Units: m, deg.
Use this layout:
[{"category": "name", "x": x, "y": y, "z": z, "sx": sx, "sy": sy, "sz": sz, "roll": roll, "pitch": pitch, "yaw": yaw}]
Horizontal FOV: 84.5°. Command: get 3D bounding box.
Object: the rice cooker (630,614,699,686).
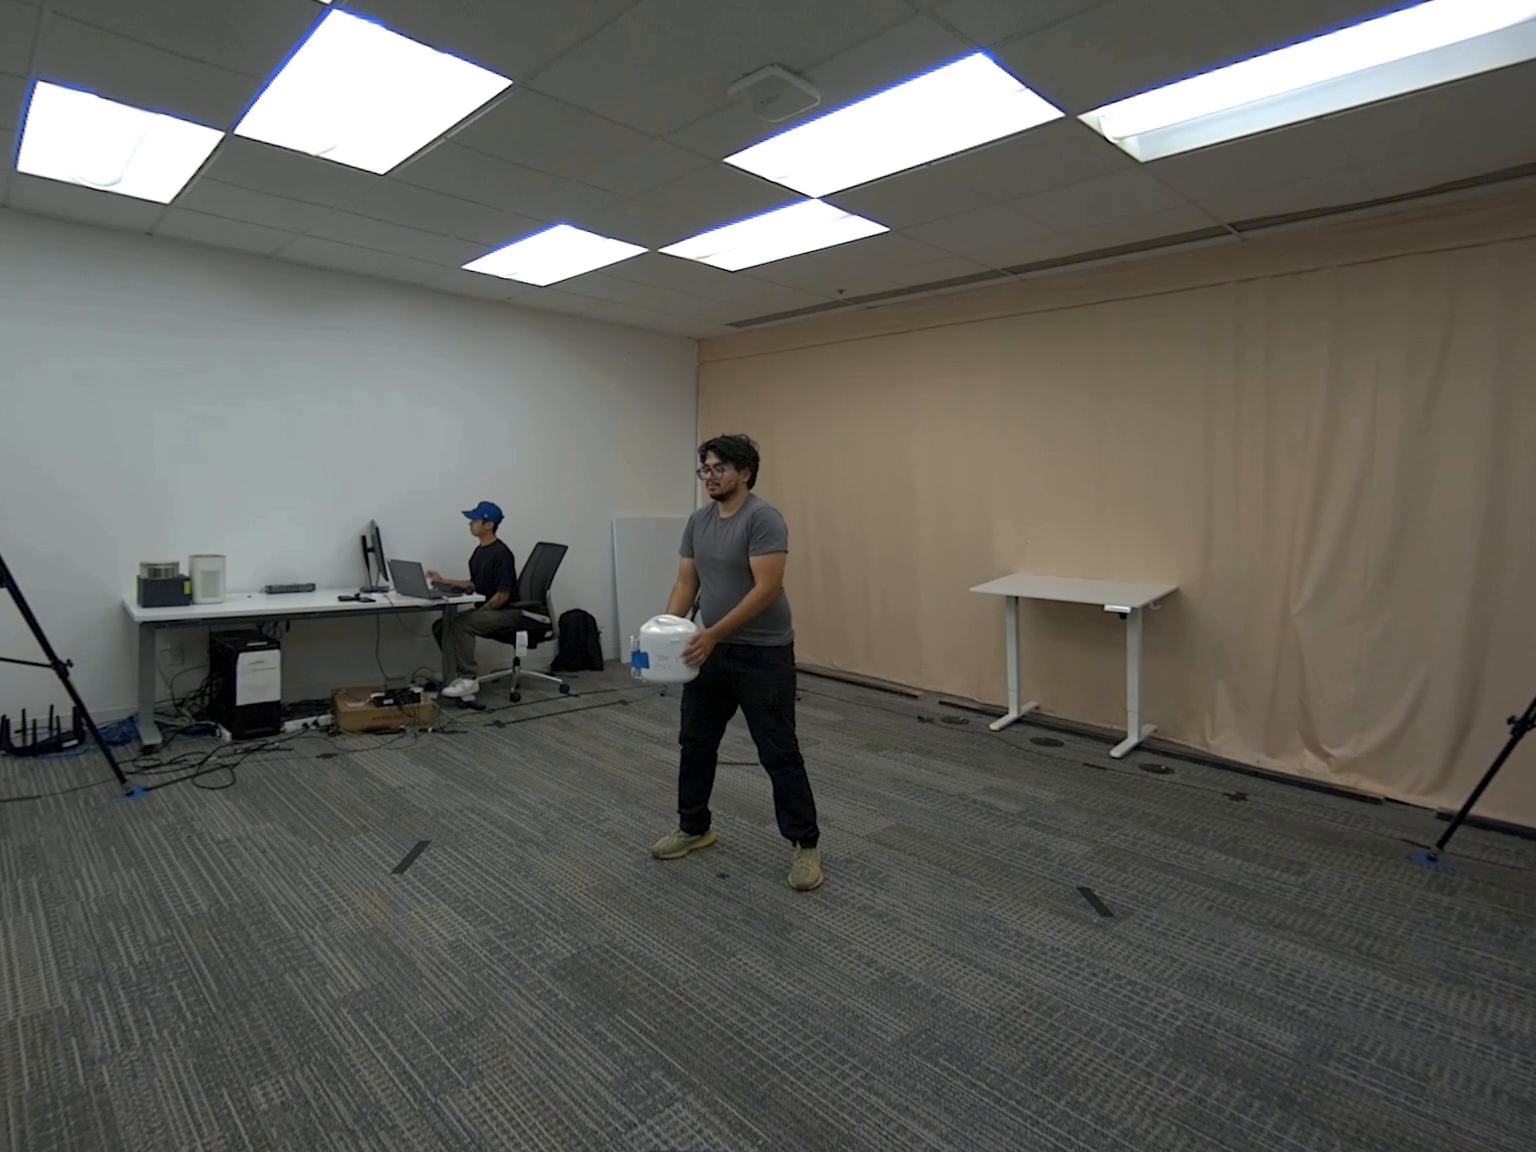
[{"category": "rice cooker", "x": -0.364, "y": 0.254, "z": 2.967, "sx": 0.226, "sy": 0.232, "sz": 0.213, "roll": 4, "pitch": 8, "yaw": 34}]
